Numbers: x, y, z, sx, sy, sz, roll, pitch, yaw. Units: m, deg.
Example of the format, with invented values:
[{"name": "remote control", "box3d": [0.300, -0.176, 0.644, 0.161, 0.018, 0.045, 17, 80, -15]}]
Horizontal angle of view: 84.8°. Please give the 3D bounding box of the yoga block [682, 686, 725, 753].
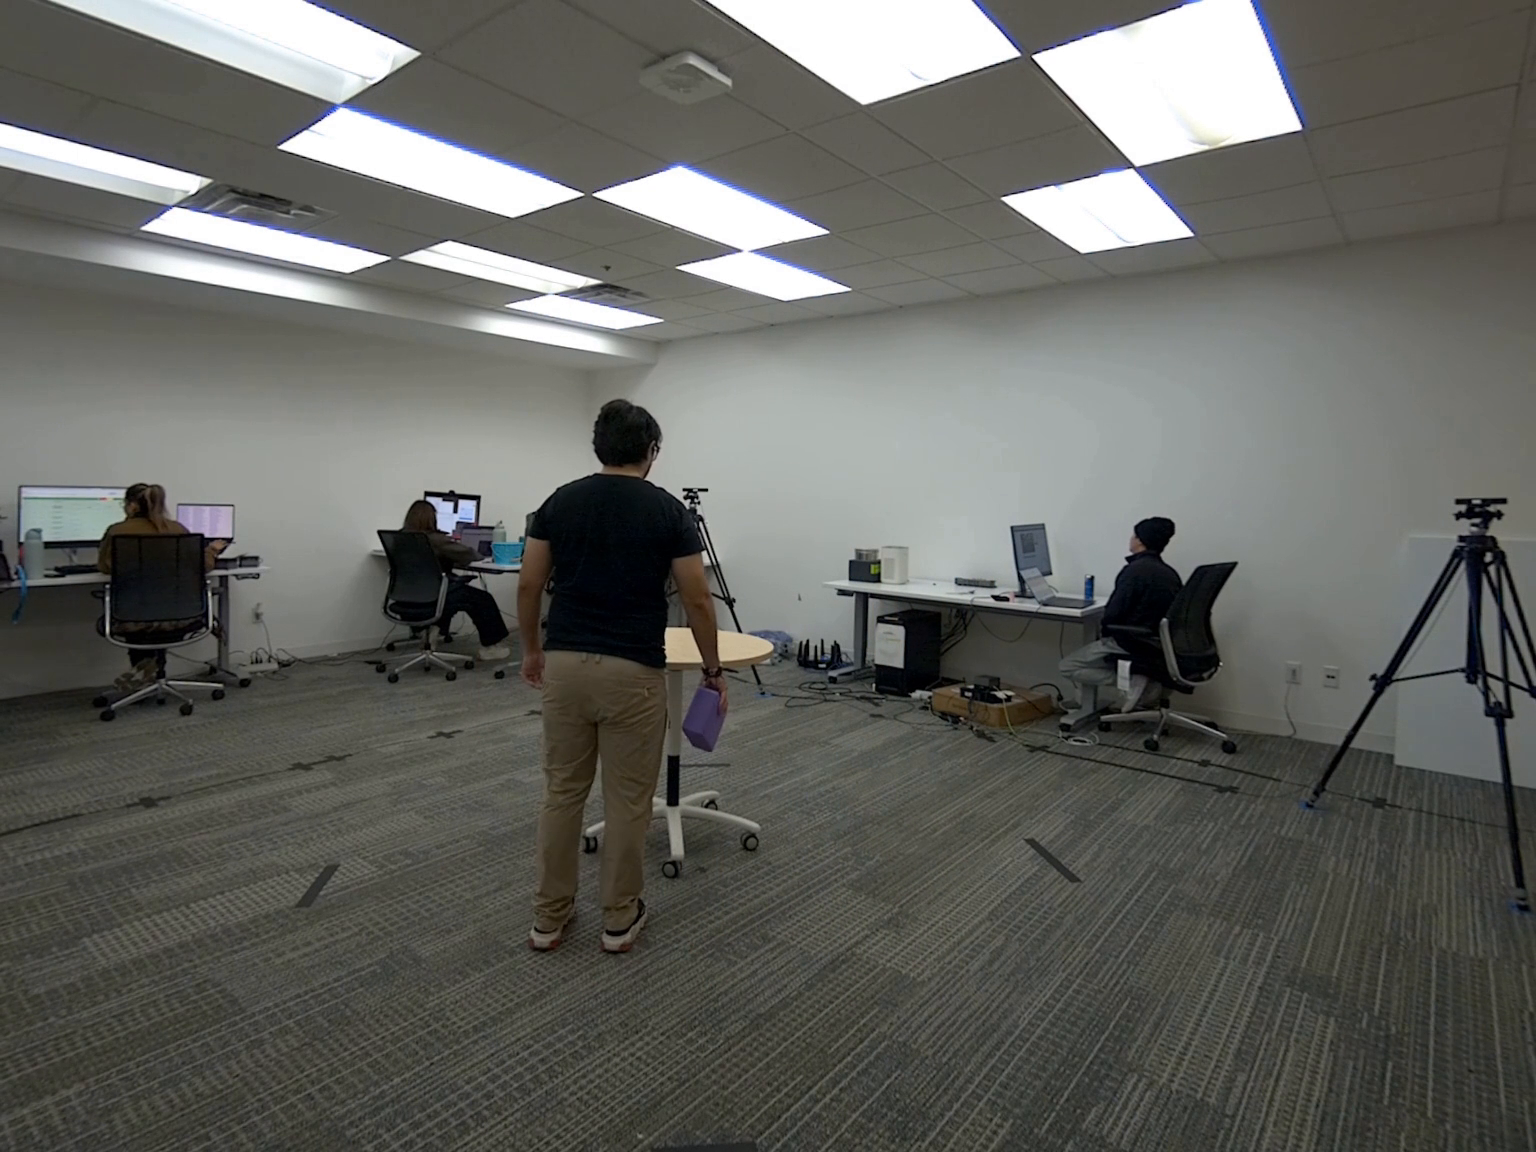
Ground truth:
[{"name": "yoga block", "box3d": [-0.221, 0.461, 2.694, 0.078, 0.150, 0.223, 16, -23, 12]}]
